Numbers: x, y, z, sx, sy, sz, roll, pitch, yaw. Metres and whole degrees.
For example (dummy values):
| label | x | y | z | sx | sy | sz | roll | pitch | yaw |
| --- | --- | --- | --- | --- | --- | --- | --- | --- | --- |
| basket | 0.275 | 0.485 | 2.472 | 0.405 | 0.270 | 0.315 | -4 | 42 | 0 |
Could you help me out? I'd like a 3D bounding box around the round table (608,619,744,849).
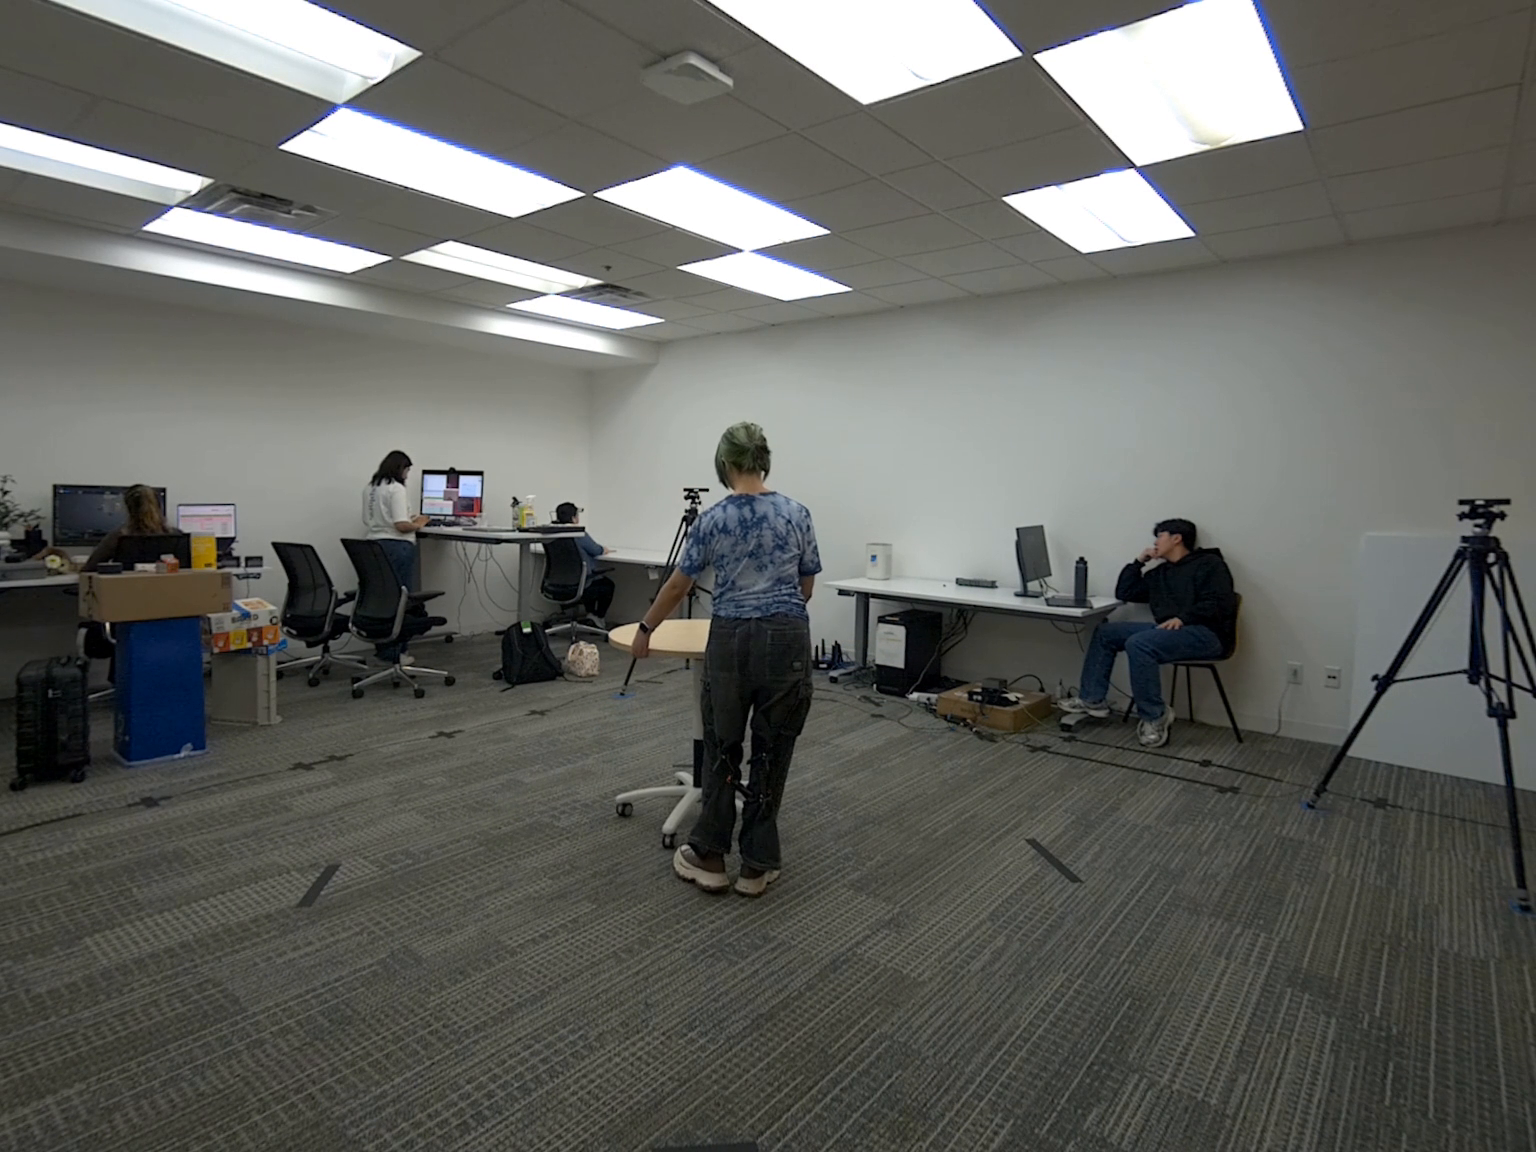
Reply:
| label | x | y | z | sx | sy | sz | roll | pitch | yaw |
| --- | --- | --- | --- | --- | --- | --- | --- | --- | --- |
| round table | -0.303 | 0.633 | 3.566 | 0.763 | 0.791 | 0.768 | 1 | 4 | -2 |
